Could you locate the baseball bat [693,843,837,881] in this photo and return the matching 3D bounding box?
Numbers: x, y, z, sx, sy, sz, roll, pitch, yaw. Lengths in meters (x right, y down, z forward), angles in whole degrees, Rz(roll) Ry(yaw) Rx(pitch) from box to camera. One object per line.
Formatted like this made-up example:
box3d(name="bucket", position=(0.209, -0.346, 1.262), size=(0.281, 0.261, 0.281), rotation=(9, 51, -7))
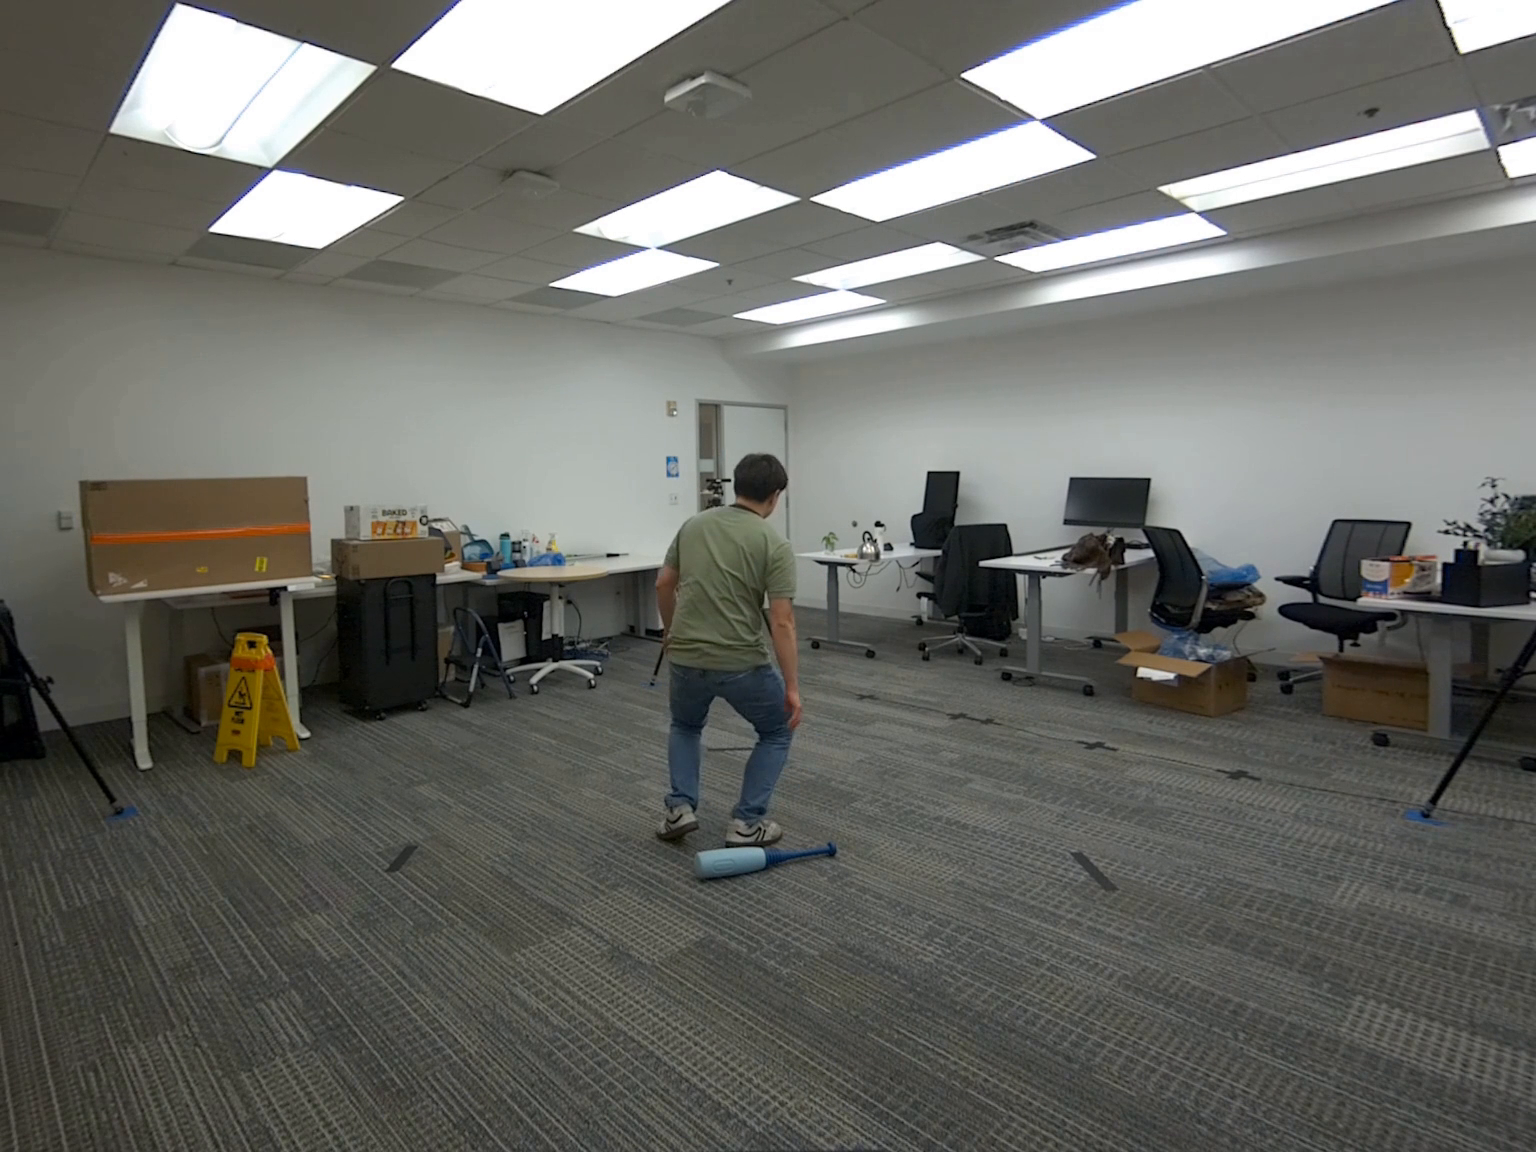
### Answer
box3d(name="baseball bat", position=(-0.002, 1.010, 3.072), size=(0.533, 0.089, 0.091), rotation=(2, 4, -19))
